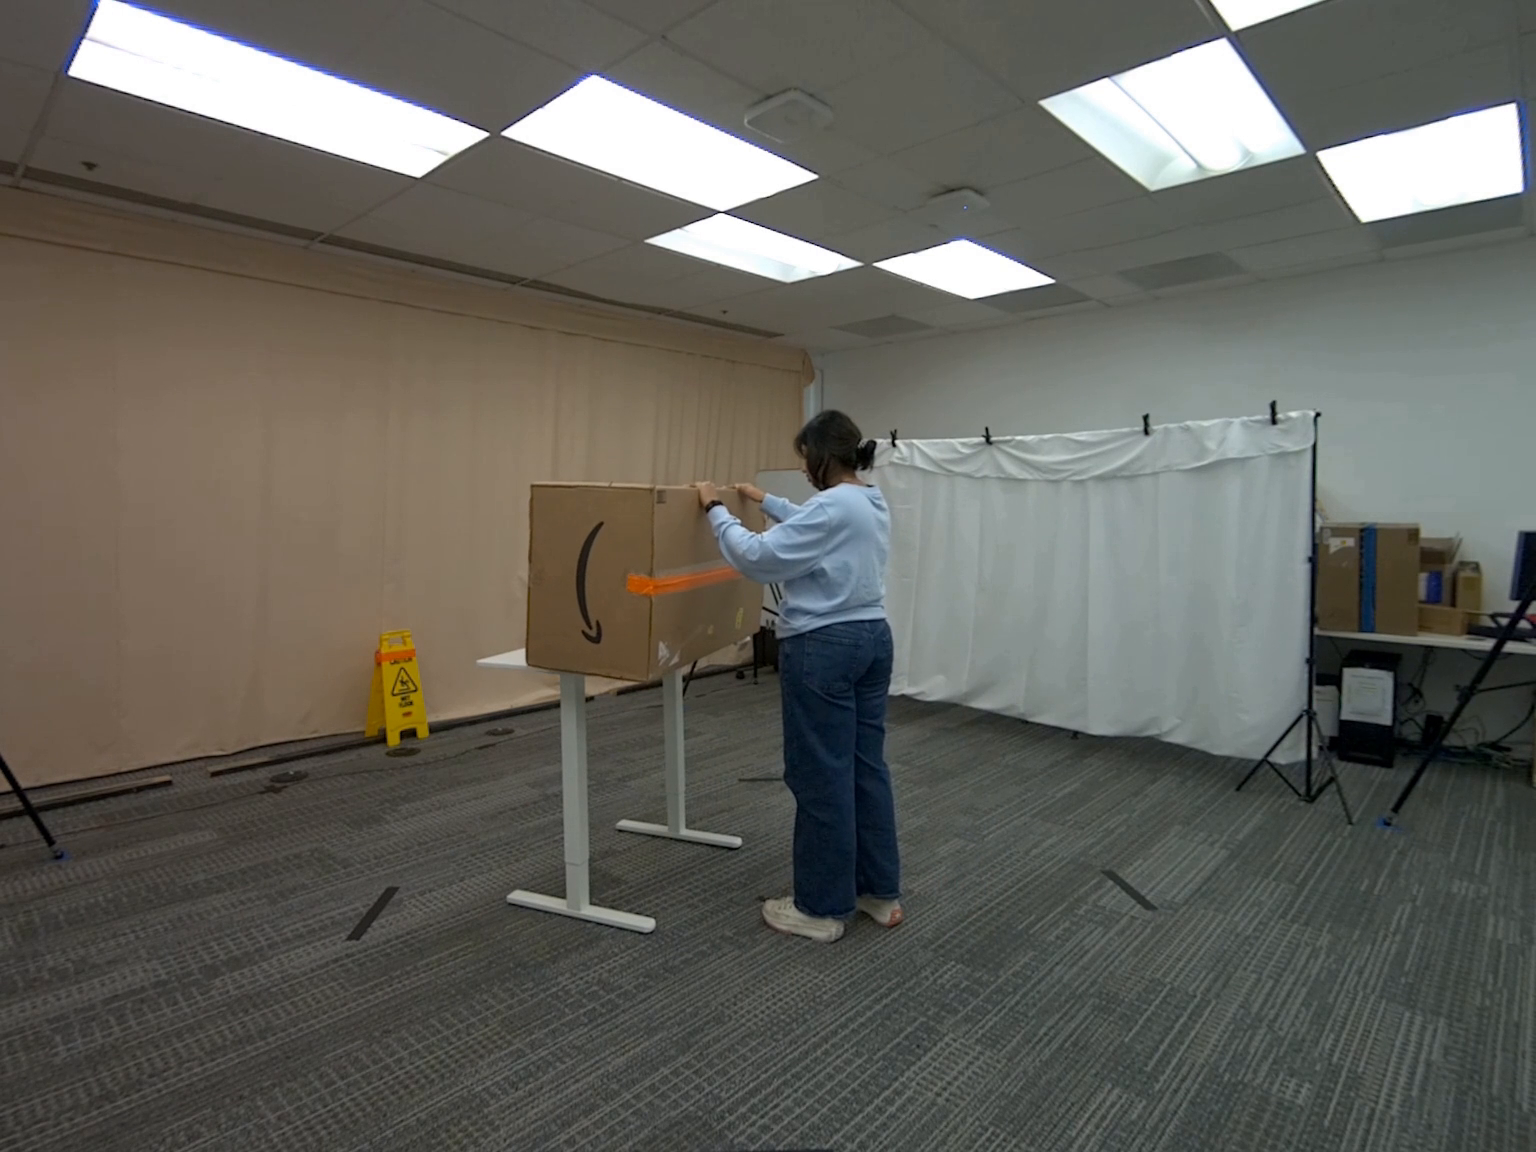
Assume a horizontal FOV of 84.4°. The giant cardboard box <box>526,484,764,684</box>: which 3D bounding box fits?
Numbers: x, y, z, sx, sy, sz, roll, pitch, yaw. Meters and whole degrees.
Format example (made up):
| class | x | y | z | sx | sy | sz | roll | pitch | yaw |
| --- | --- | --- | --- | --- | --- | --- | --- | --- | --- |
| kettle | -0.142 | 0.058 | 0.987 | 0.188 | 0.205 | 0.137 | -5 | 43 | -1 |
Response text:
| class | x | y | z | sx | sy | sz | roll | pitch | yaw |
| --- | --- | --- | --- | --- | --- | --- | --- | --- | --- |
| giant cardboard box | -0.375 | -0.031 | 2.991 | 0.435 | 0.576 | 1.007 | 5 | 6 | 18 |
